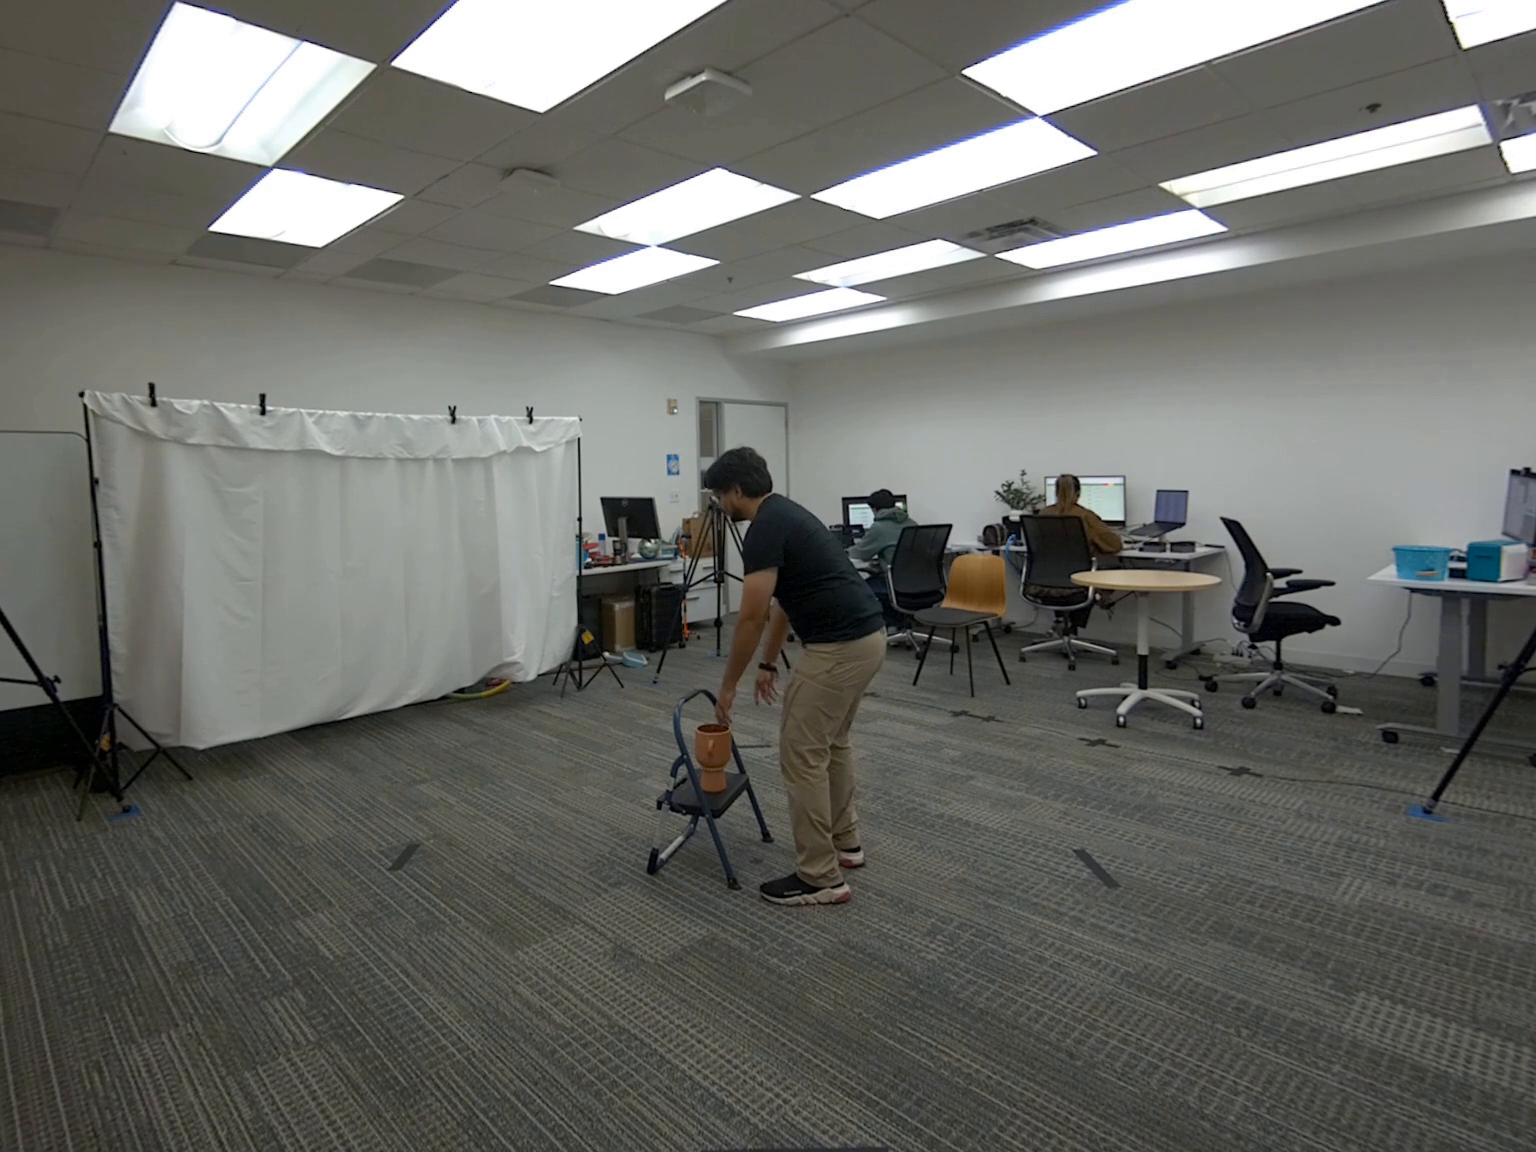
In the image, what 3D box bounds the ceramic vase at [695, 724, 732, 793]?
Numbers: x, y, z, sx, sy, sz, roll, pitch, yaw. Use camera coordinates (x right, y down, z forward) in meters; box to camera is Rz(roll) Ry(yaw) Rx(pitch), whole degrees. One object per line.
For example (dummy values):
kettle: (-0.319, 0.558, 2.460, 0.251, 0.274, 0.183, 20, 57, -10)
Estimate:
ceramic vase: (-0.194, 0.668, 3.120, 0.139, 0.219, 0.154, 5, 7, 44)
